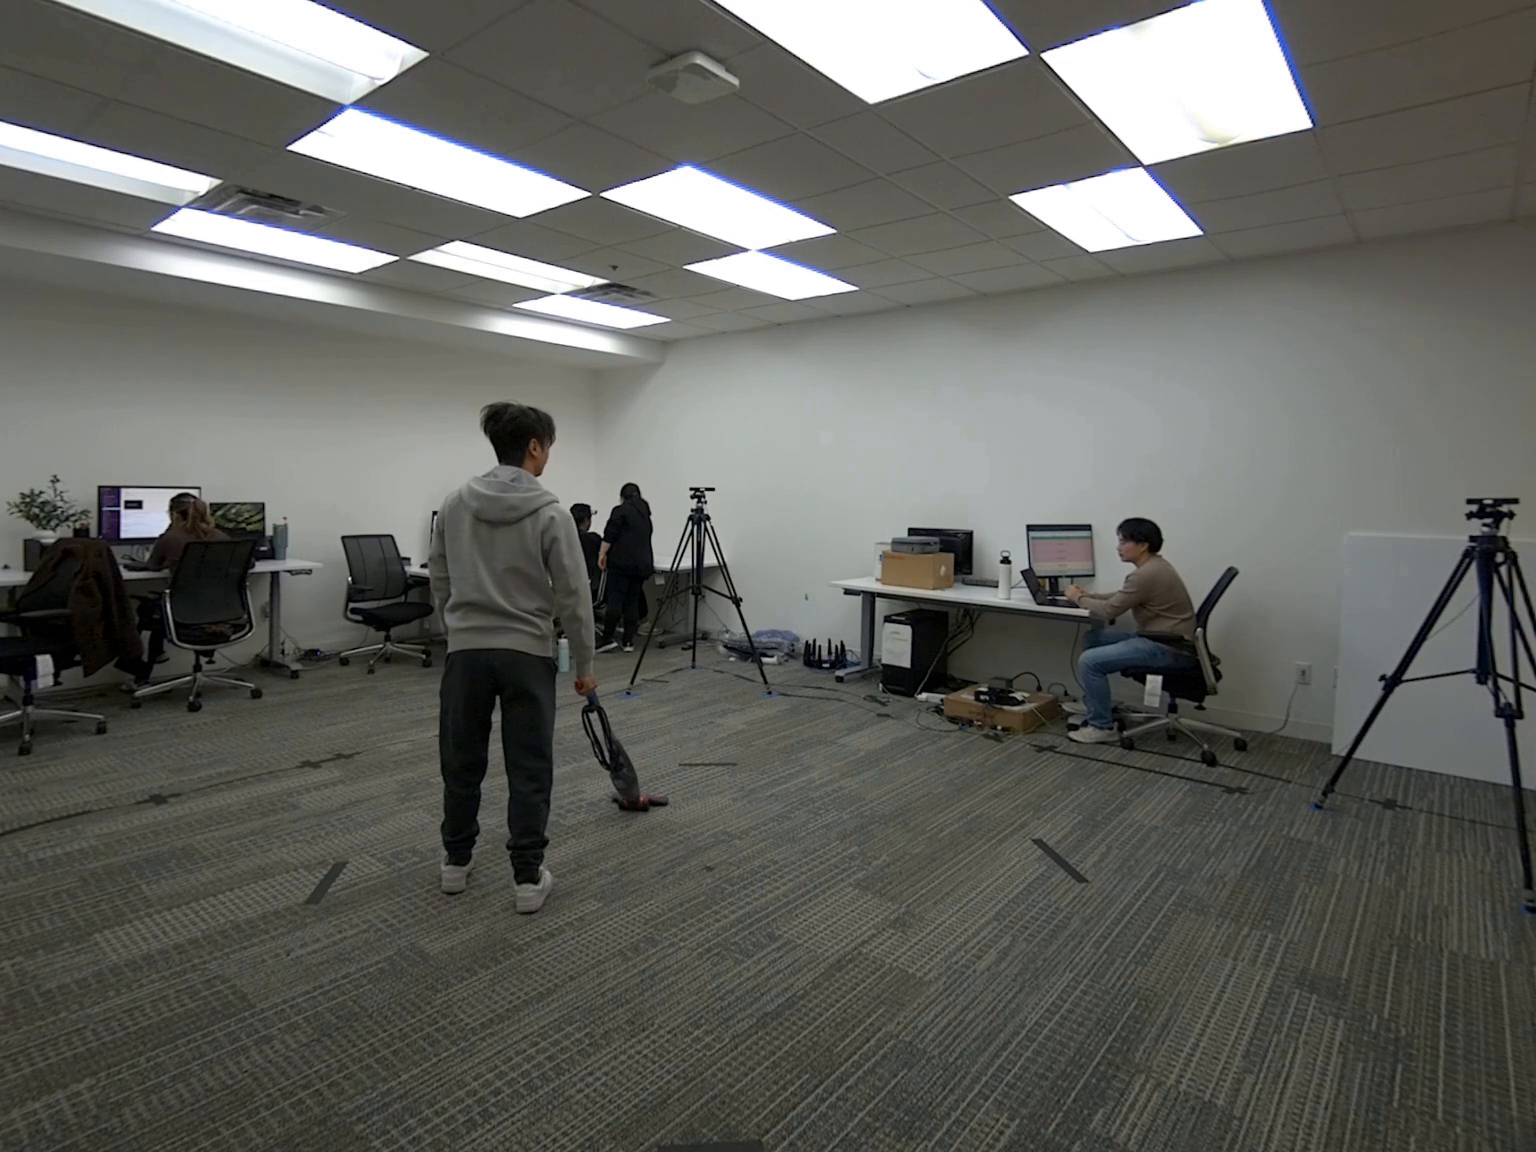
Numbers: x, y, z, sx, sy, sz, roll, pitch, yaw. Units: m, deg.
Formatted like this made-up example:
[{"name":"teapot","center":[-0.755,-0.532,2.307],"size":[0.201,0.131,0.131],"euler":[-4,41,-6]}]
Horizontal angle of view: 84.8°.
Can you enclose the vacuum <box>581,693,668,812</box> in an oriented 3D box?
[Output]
[{"name":"vacuum","center":[-0.632,0.681,3.321],"size":[0.256,0.147,1.015],"euler":[5,-38,11]}]
